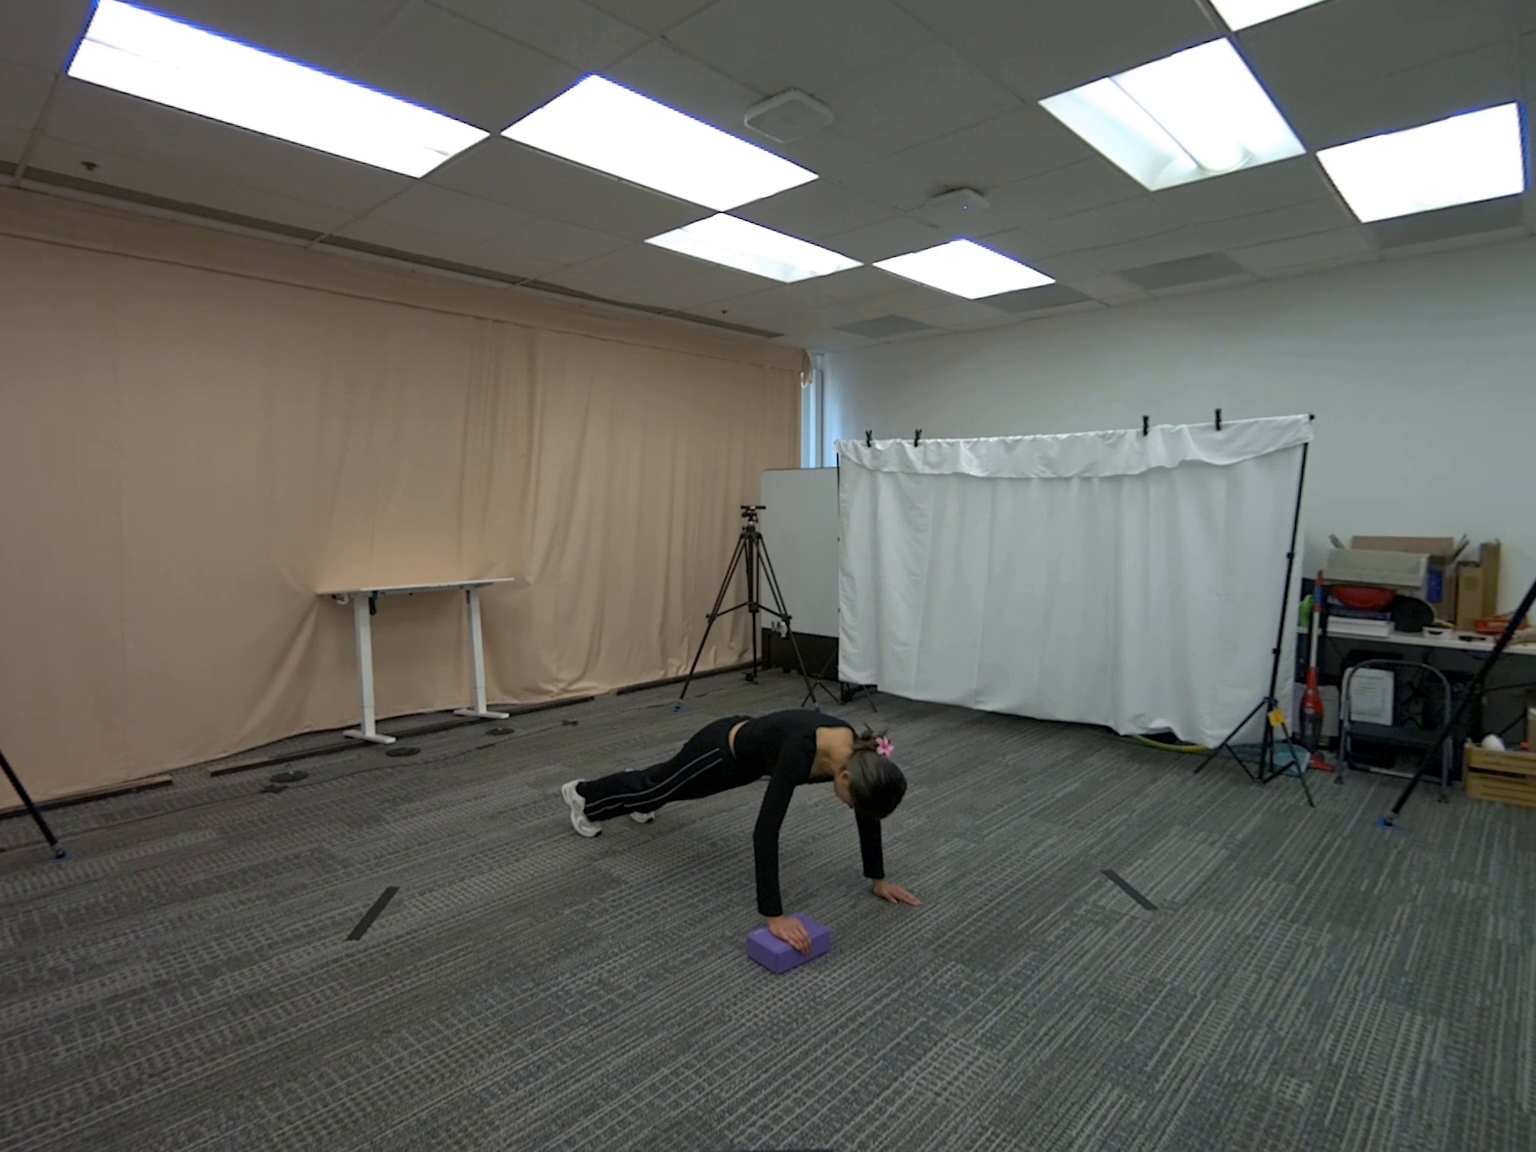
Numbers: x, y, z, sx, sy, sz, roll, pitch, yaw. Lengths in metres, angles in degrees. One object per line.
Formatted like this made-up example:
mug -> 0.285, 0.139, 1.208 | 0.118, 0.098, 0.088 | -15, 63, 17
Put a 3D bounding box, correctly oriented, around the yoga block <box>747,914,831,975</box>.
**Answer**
yoga block -> 0.068, 1.138, 2.615 | 0.223, 0.076, 0.154 | -6, 7, -39
